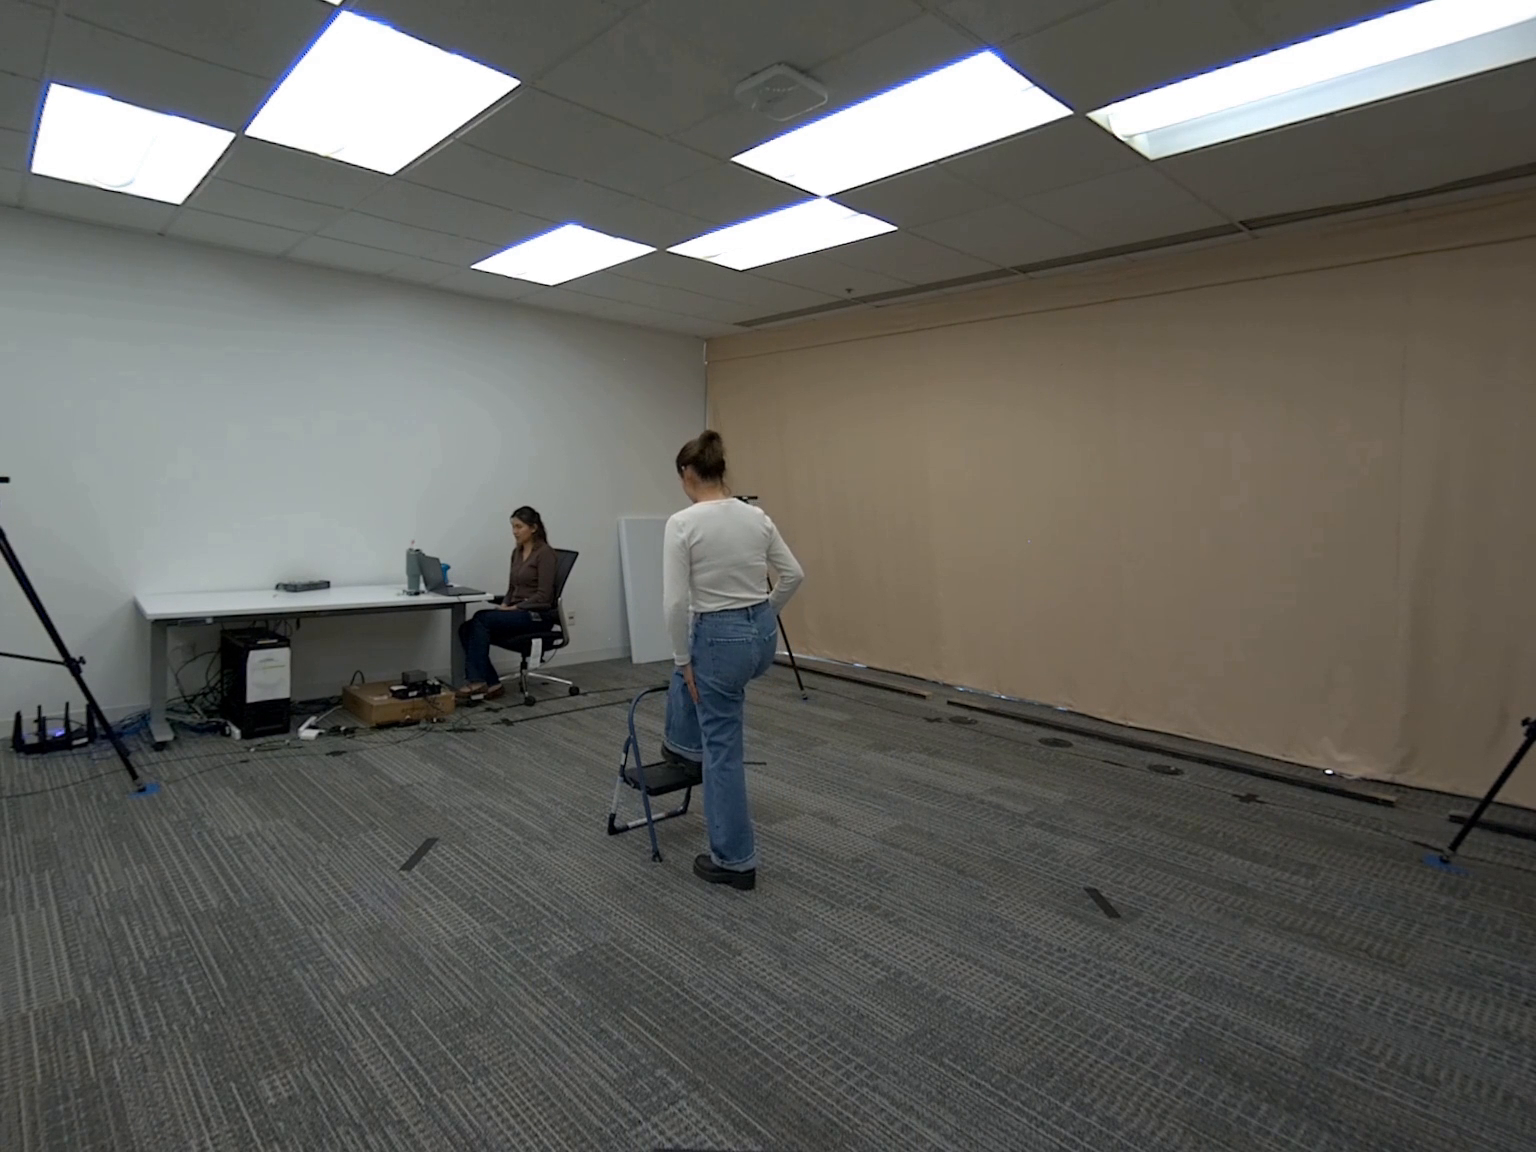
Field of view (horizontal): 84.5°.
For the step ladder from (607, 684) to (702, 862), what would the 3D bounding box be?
[{"bbox_3d":[-0.392,0.762,3.448,0.421,0.604,0.358,-2,5,-45],"label":"step ladder"}]
